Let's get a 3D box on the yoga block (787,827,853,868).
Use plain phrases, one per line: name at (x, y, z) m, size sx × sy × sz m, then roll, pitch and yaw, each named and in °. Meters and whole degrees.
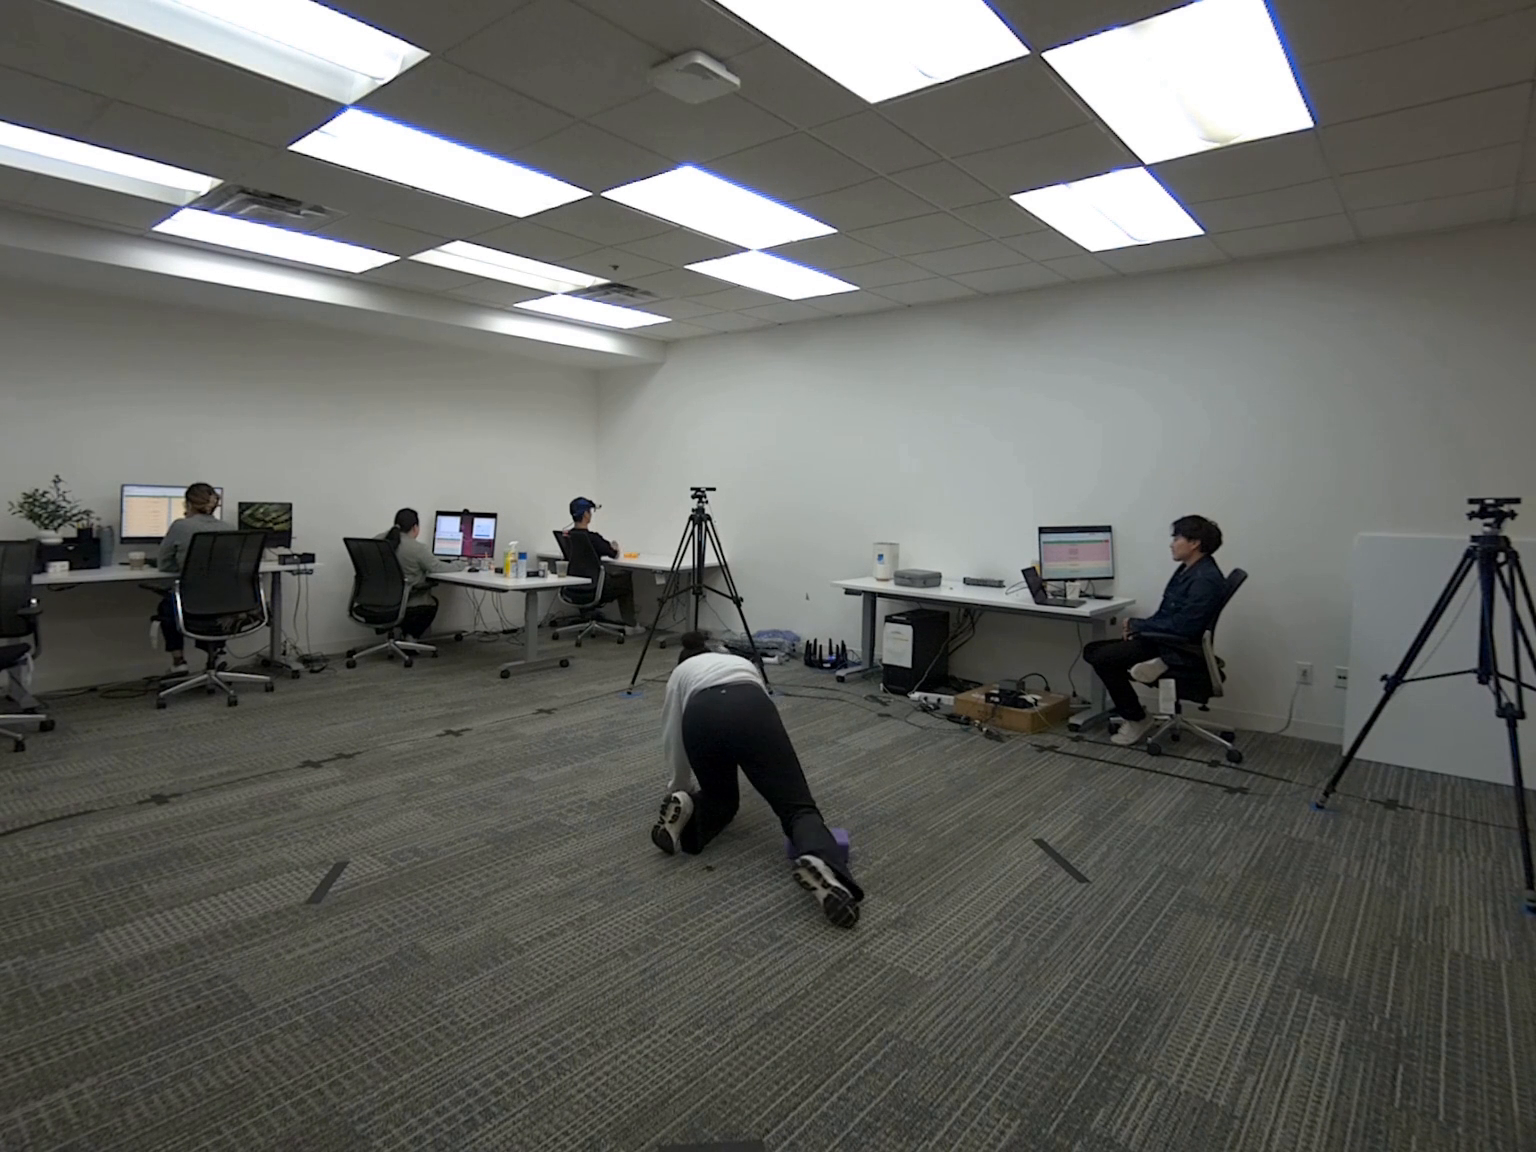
yoga block at (0.182, 1.021, 3.252) m, size 0.231 × 0.076 × 0.149 m, roll 2°, pitch 7°, yaw 5°
